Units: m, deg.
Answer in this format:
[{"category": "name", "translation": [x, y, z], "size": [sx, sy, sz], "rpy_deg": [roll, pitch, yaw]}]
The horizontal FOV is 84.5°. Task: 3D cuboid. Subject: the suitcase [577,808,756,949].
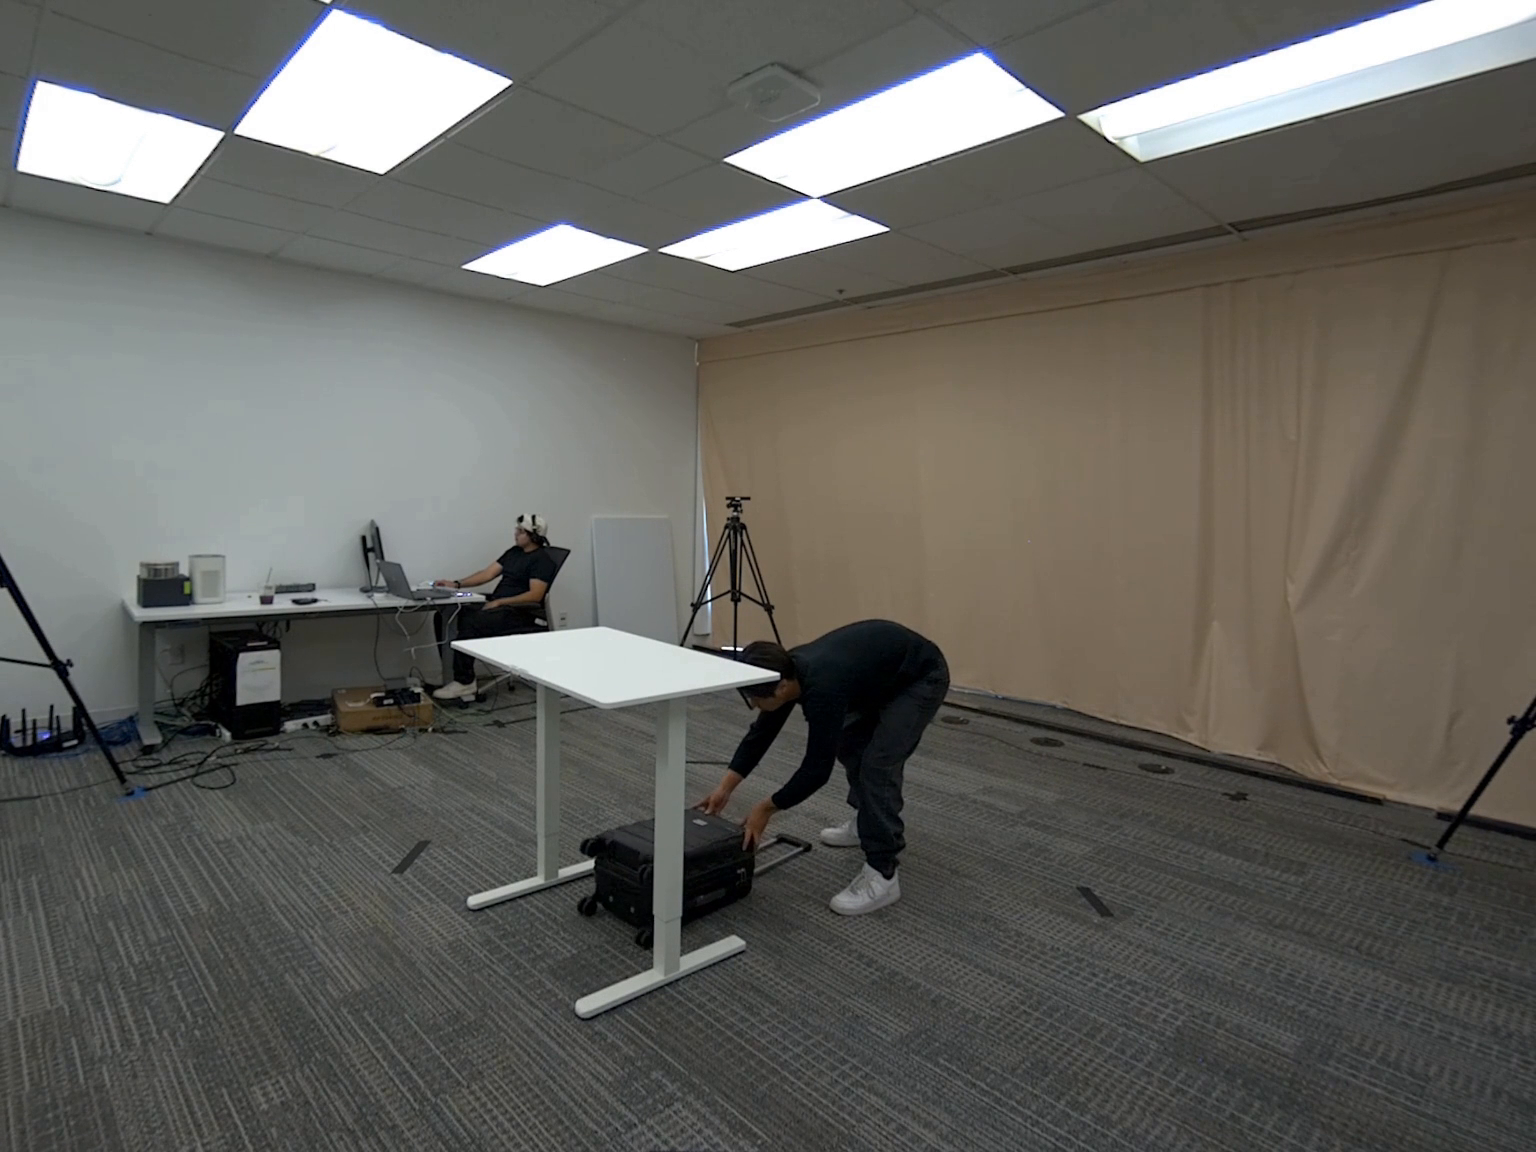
[{"category": "suitcase", "translation": [-0.199, 0.988, 3.031], "size": [0.393, 0.256, 0.957], "rpy_deg": [3, 4, 40]}]
